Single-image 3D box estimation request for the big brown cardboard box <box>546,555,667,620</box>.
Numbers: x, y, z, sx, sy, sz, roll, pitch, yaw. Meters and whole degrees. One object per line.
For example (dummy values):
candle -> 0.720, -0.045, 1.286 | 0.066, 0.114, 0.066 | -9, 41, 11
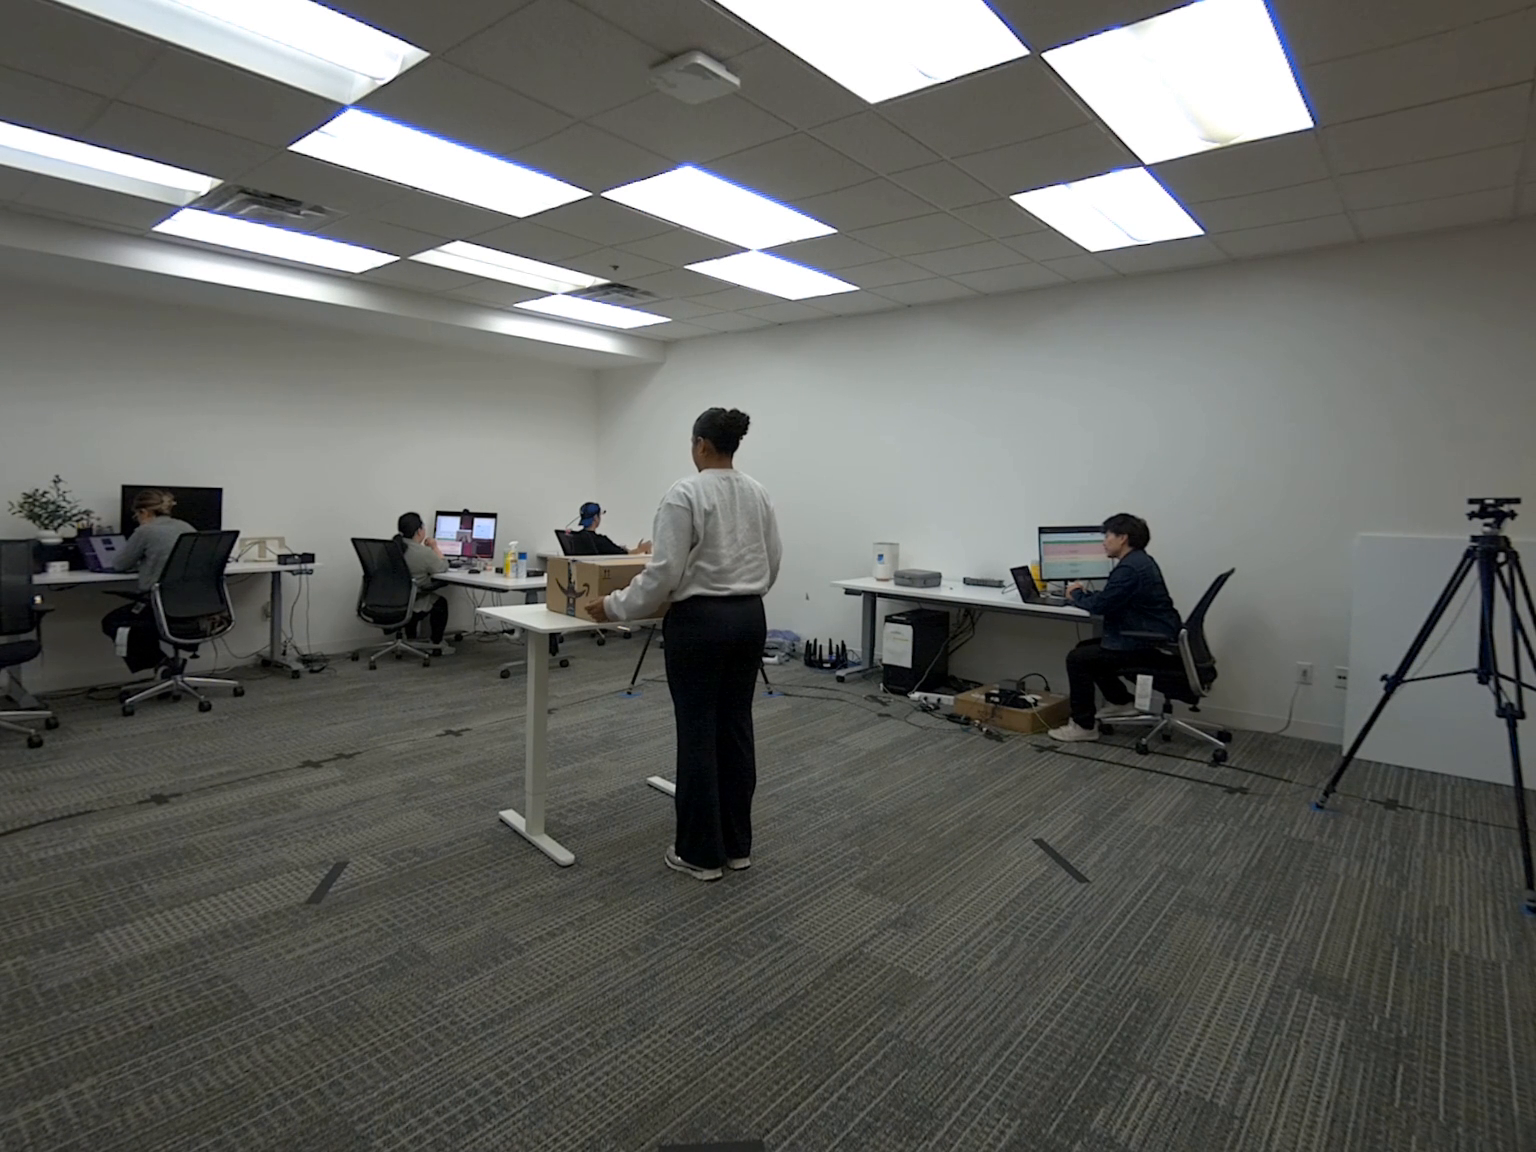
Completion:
big brown cardboard box -> -0.563, 0.034, 3.461 | 0.572, 0.232, 0.432 | -5, 8, -41
